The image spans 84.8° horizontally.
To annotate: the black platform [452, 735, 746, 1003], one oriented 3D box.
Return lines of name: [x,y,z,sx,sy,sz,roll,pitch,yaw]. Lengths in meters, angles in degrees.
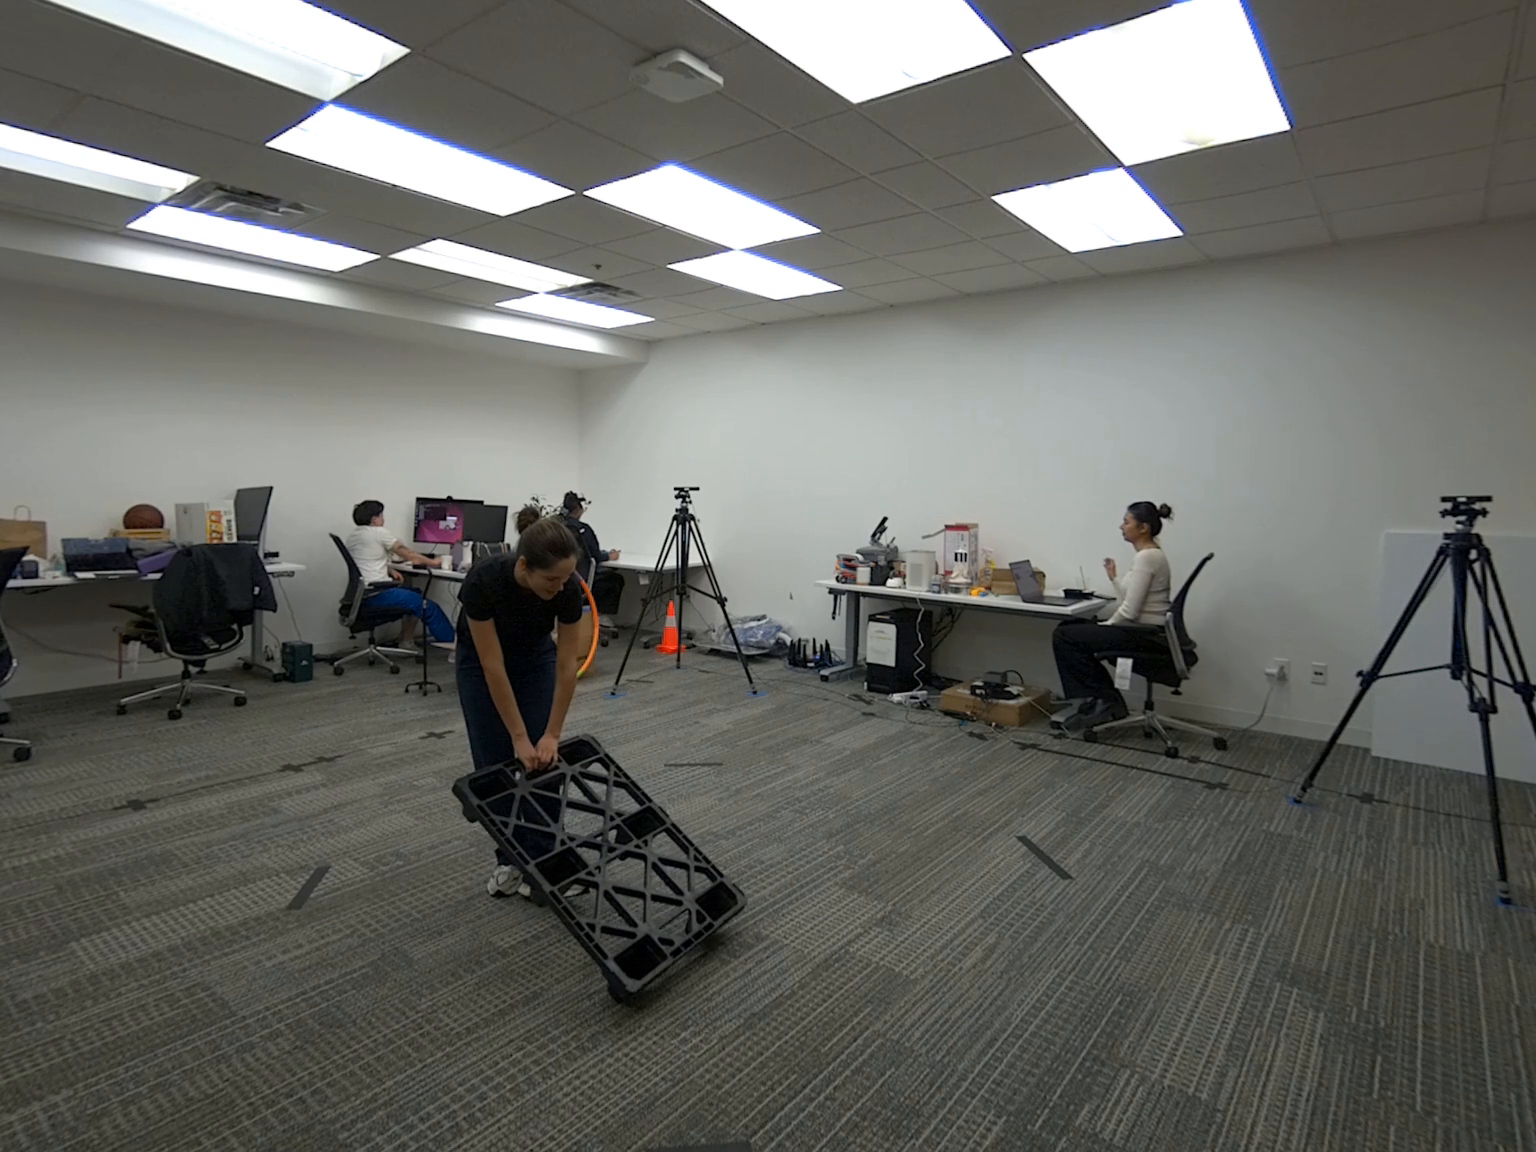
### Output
black platform: [-0.516,0.857,2.632,0.833,0.142,0.589,39,22,24]
